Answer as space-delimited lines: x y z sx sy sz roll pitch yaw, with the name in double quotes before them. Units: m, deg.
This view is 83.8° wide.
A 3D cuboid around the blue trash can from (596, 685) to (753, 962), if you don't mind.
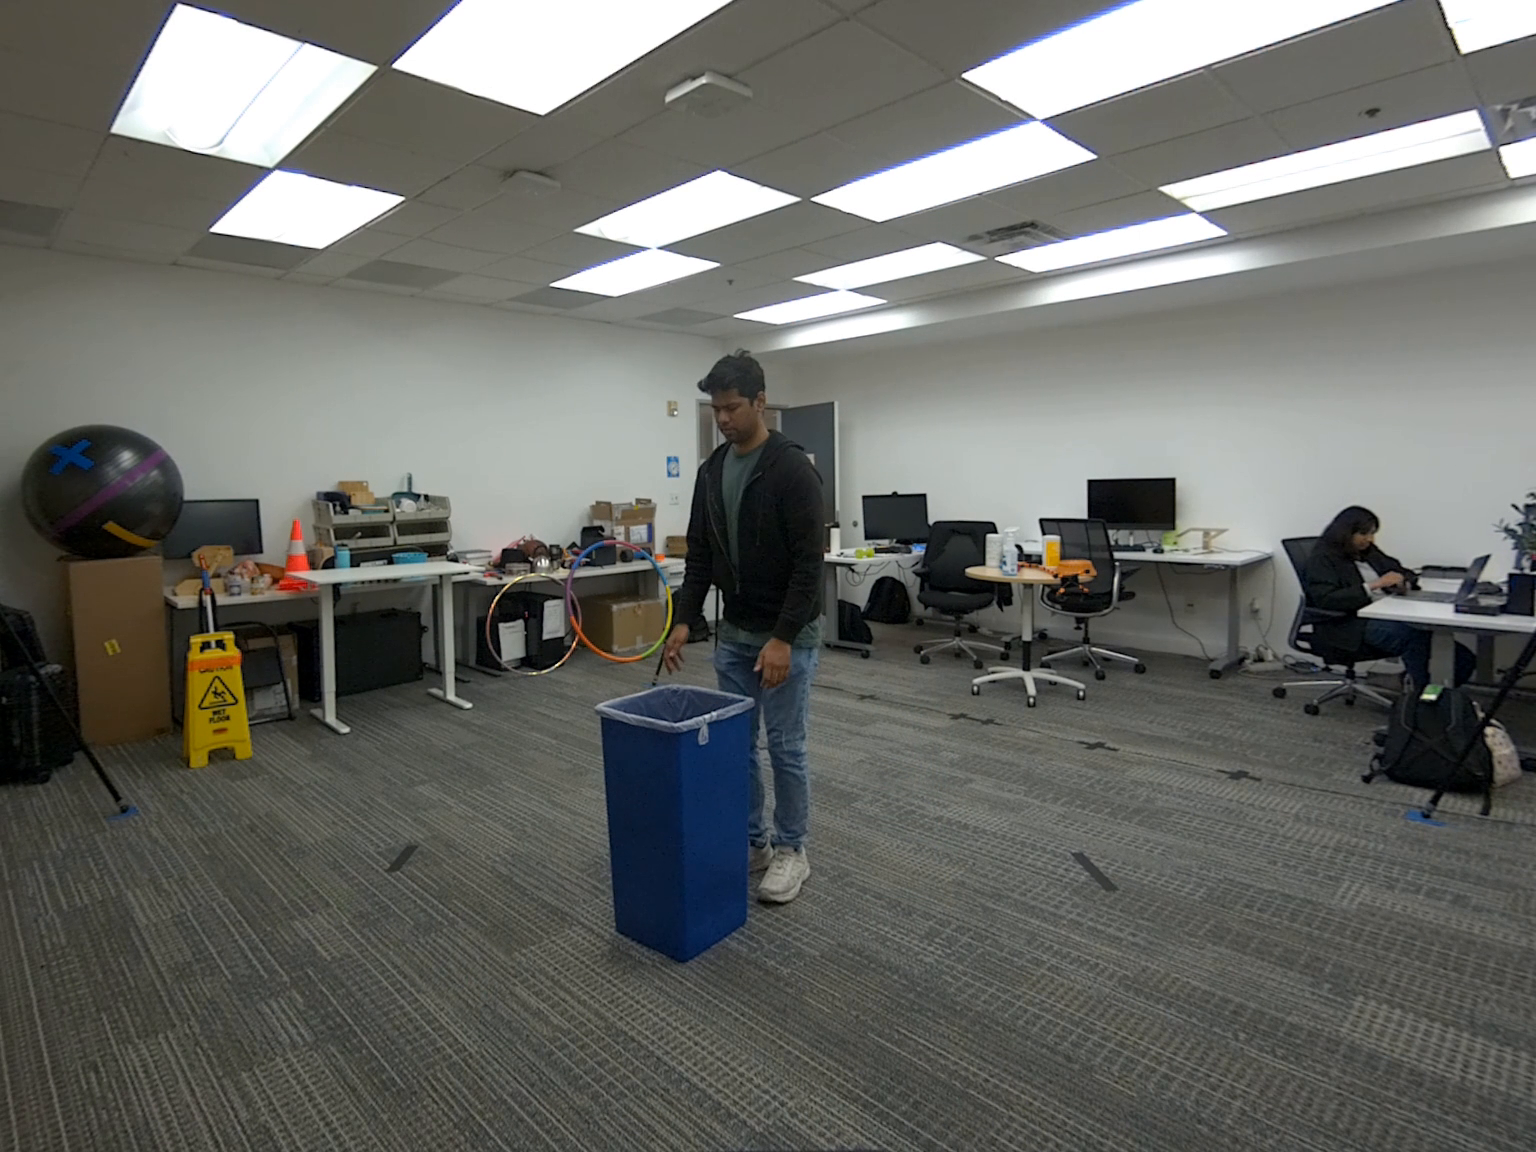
"blue trash can" -0.283 0.744 2.657 0.385 0.711 0.368 3 6 38
